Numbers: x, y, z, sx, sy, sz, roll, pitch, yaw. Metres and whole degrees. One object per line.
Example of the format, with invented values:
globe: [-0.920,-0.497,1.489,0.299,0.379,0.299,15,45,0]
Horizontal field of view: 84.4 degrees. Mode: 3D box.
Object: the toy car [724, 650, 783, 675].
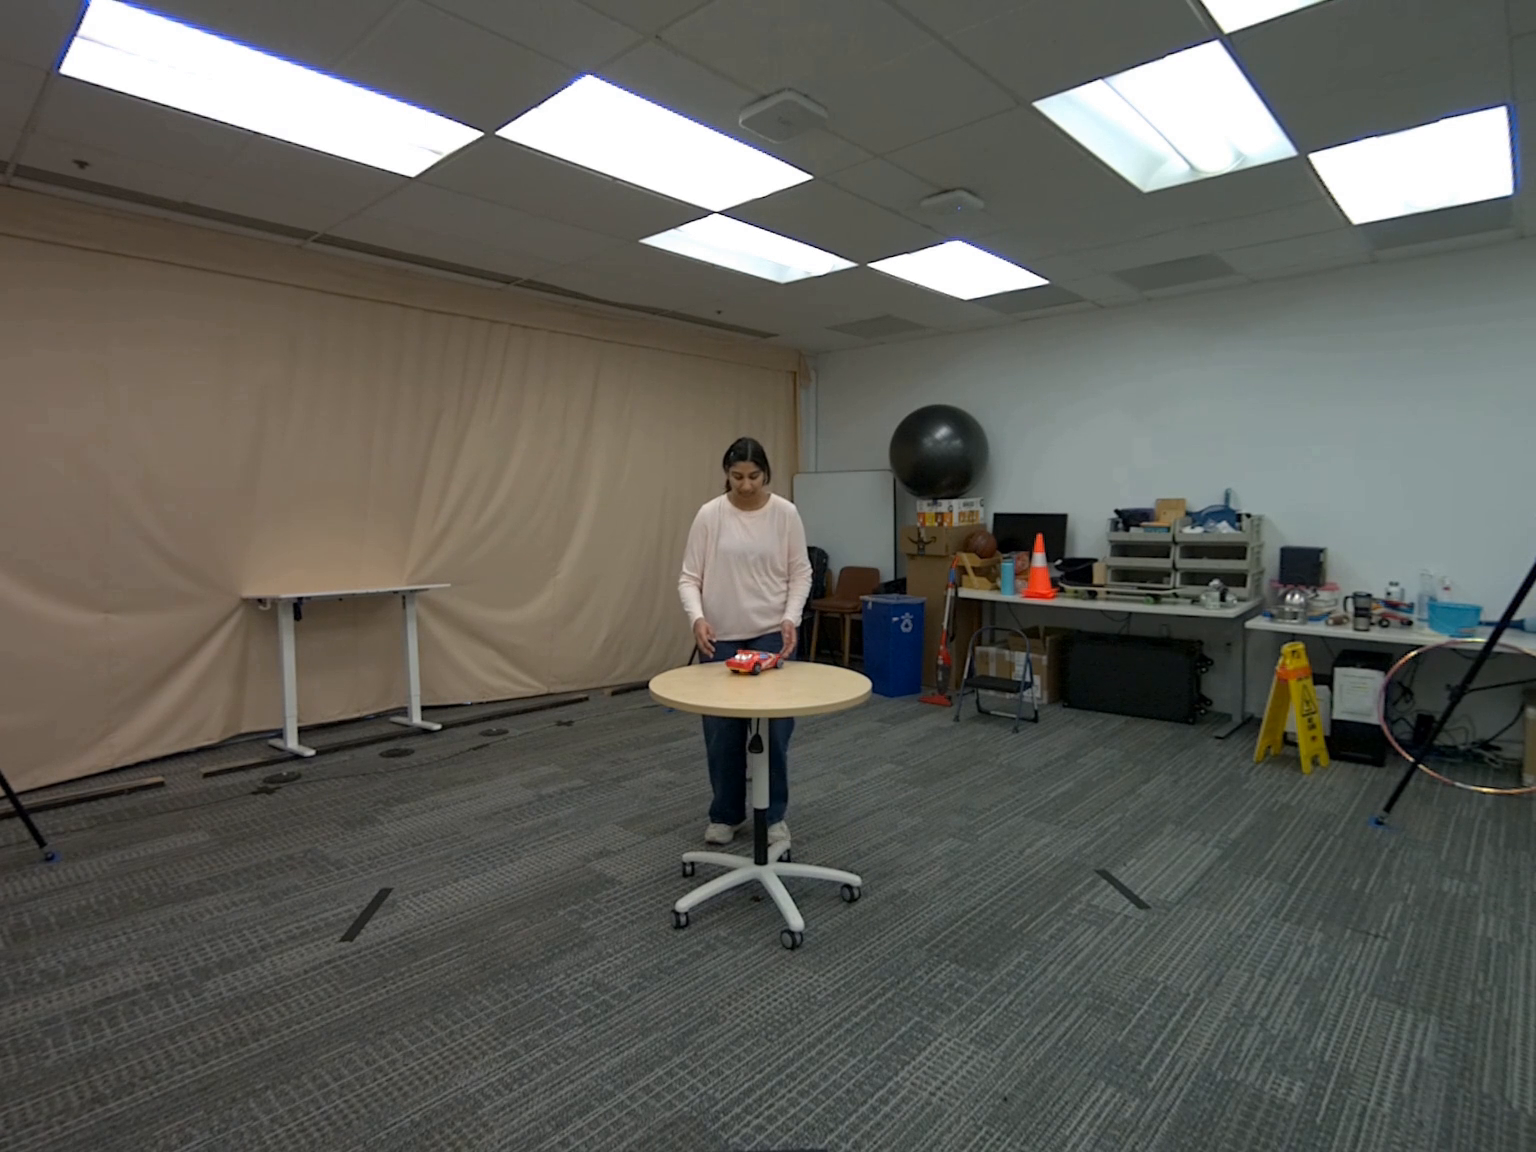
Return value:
toy car: [-0.053,0.316,3.093,0.134,0.083,0.246,2,-5,36]
